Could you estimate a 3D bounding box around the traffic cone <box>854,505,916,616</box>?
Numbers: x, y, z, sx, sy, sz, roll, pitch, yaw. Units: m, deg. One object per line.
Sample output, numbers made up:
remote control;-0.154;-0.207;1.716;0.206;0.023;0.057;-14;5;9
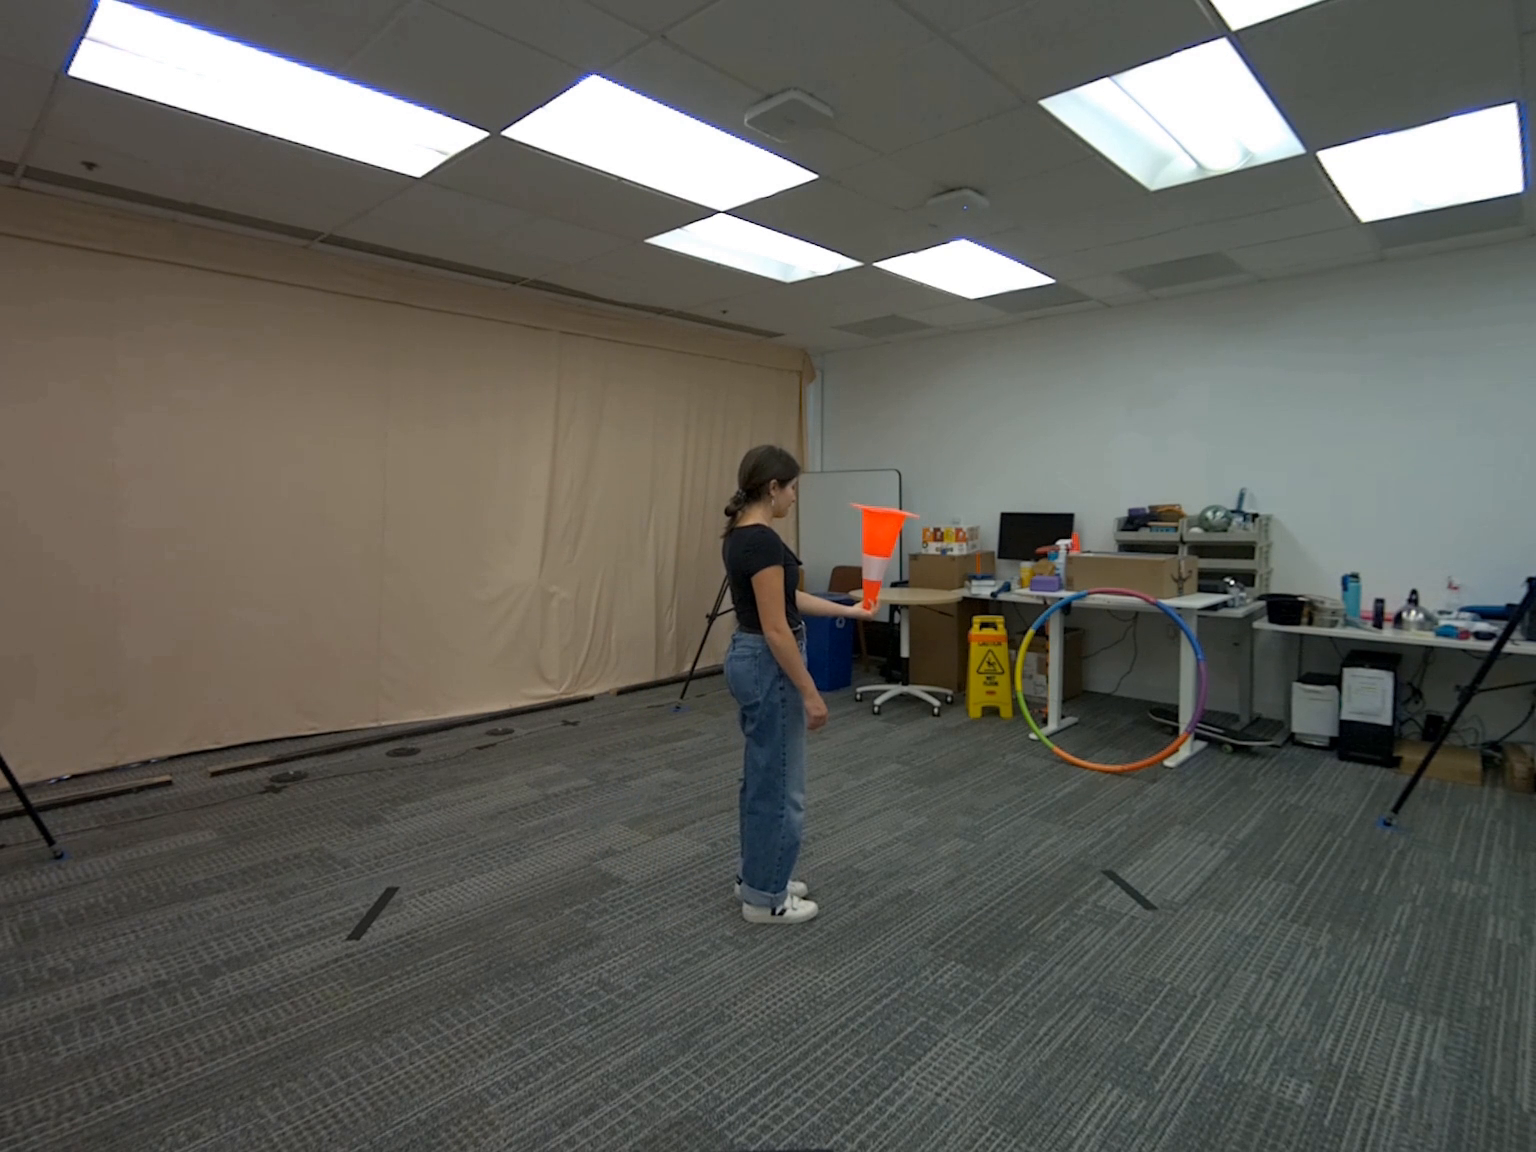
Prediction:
traffic cone;0.413;-0.047;3.078;0.199;0.382;0.210;7;7;-19
